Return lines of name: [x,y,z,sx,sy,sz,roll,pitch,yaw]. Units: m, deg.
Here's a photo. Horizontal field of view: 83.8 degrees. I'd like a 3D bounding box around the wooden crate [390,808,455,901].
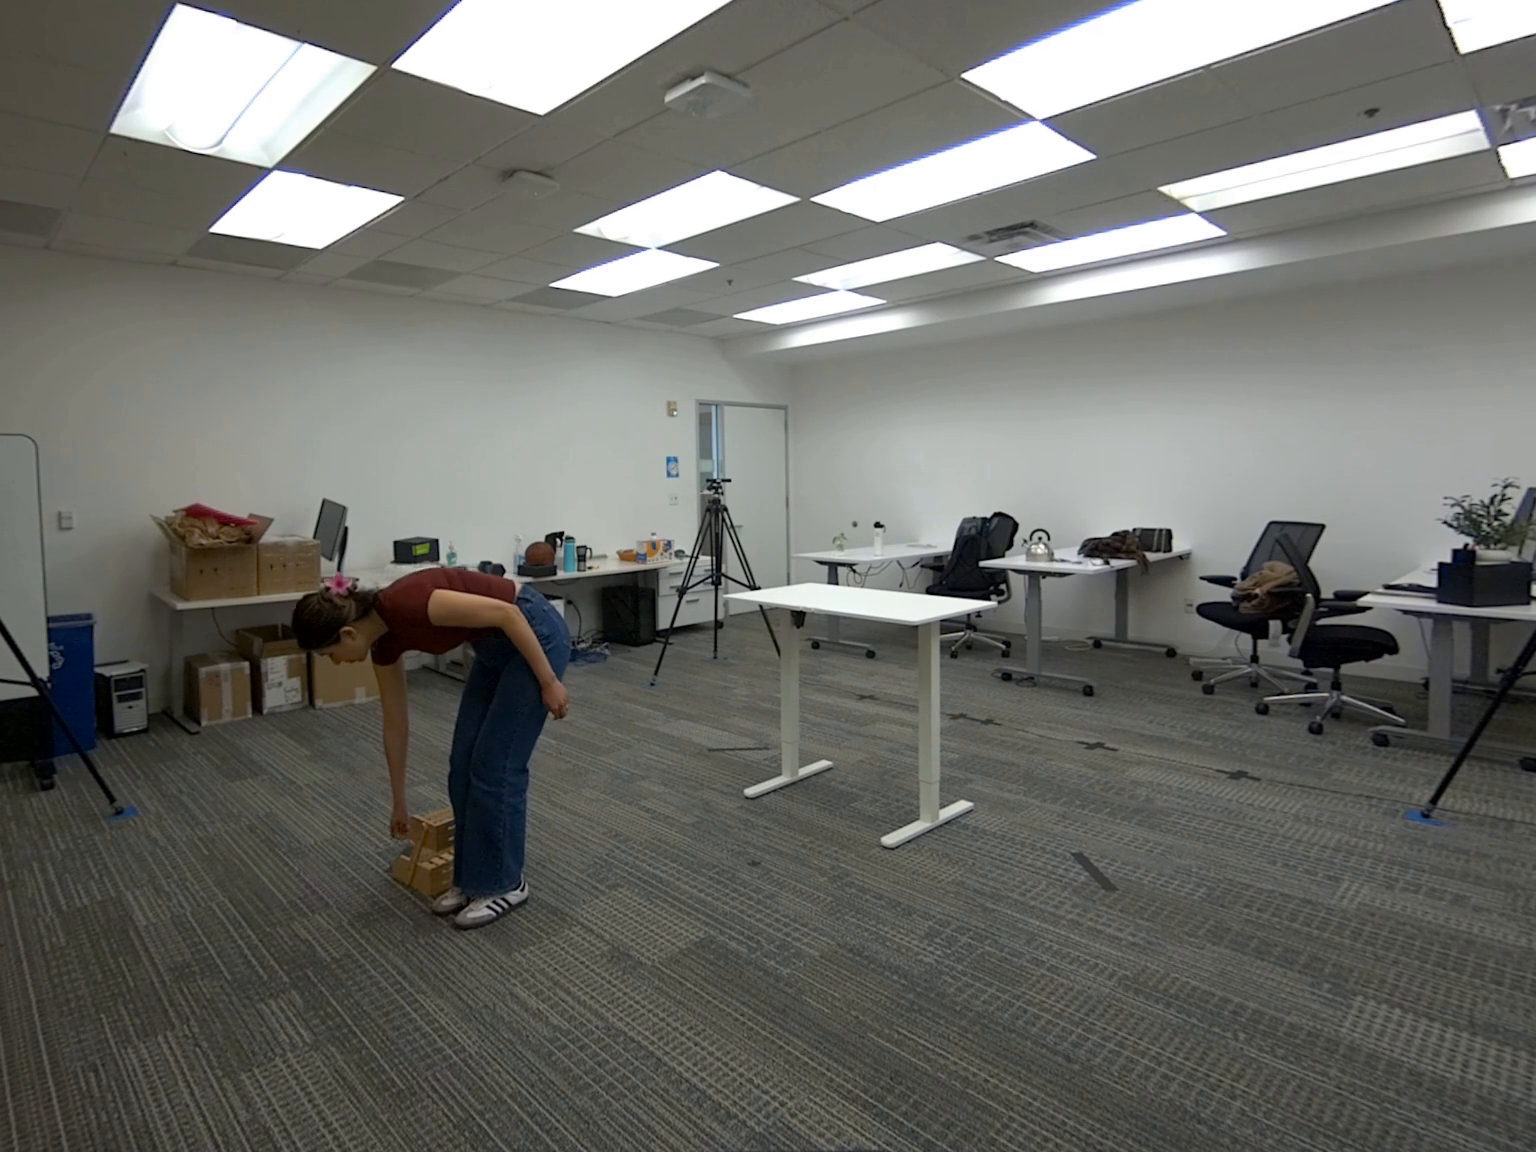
wooden crate: [-1.142,0.938,3.081,0.311,0.272,0.316,4,8,37]
